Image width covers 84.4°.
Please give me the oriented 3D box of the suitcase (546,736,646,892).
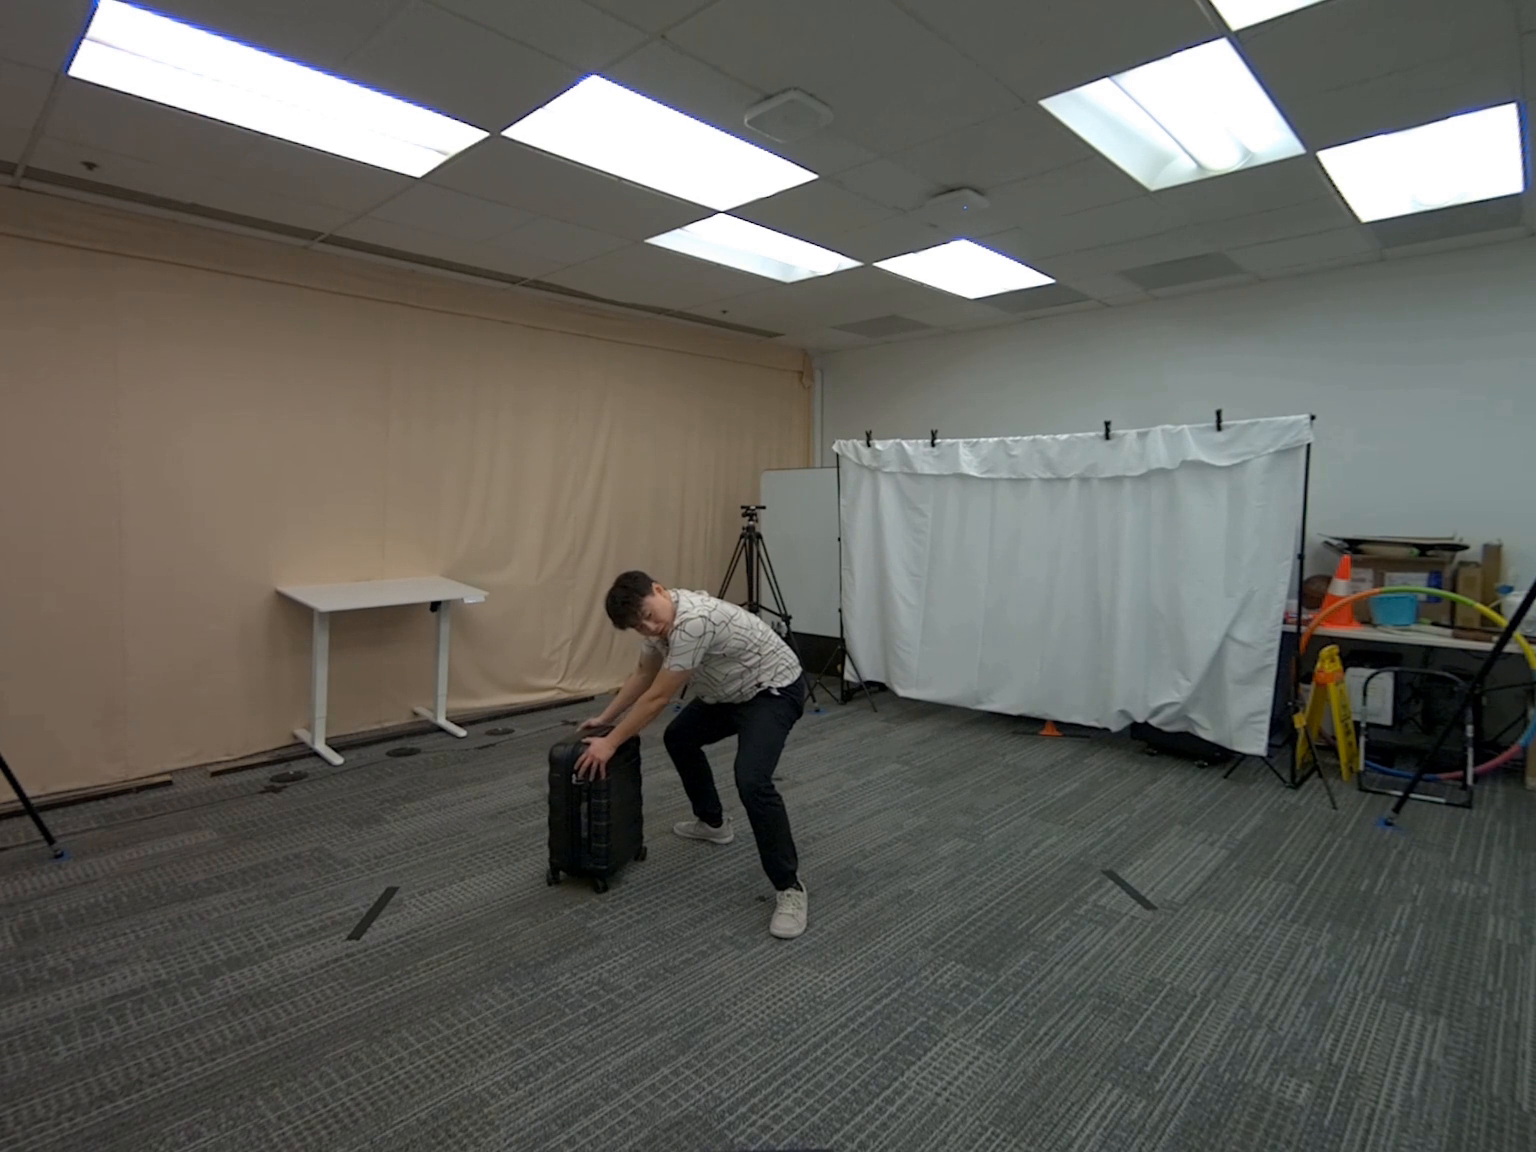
[{"bbox_3d":[-0.653,0.862,3.187,0.253,0.548,0.369,0,4,16],"label":"suitcase"}]
